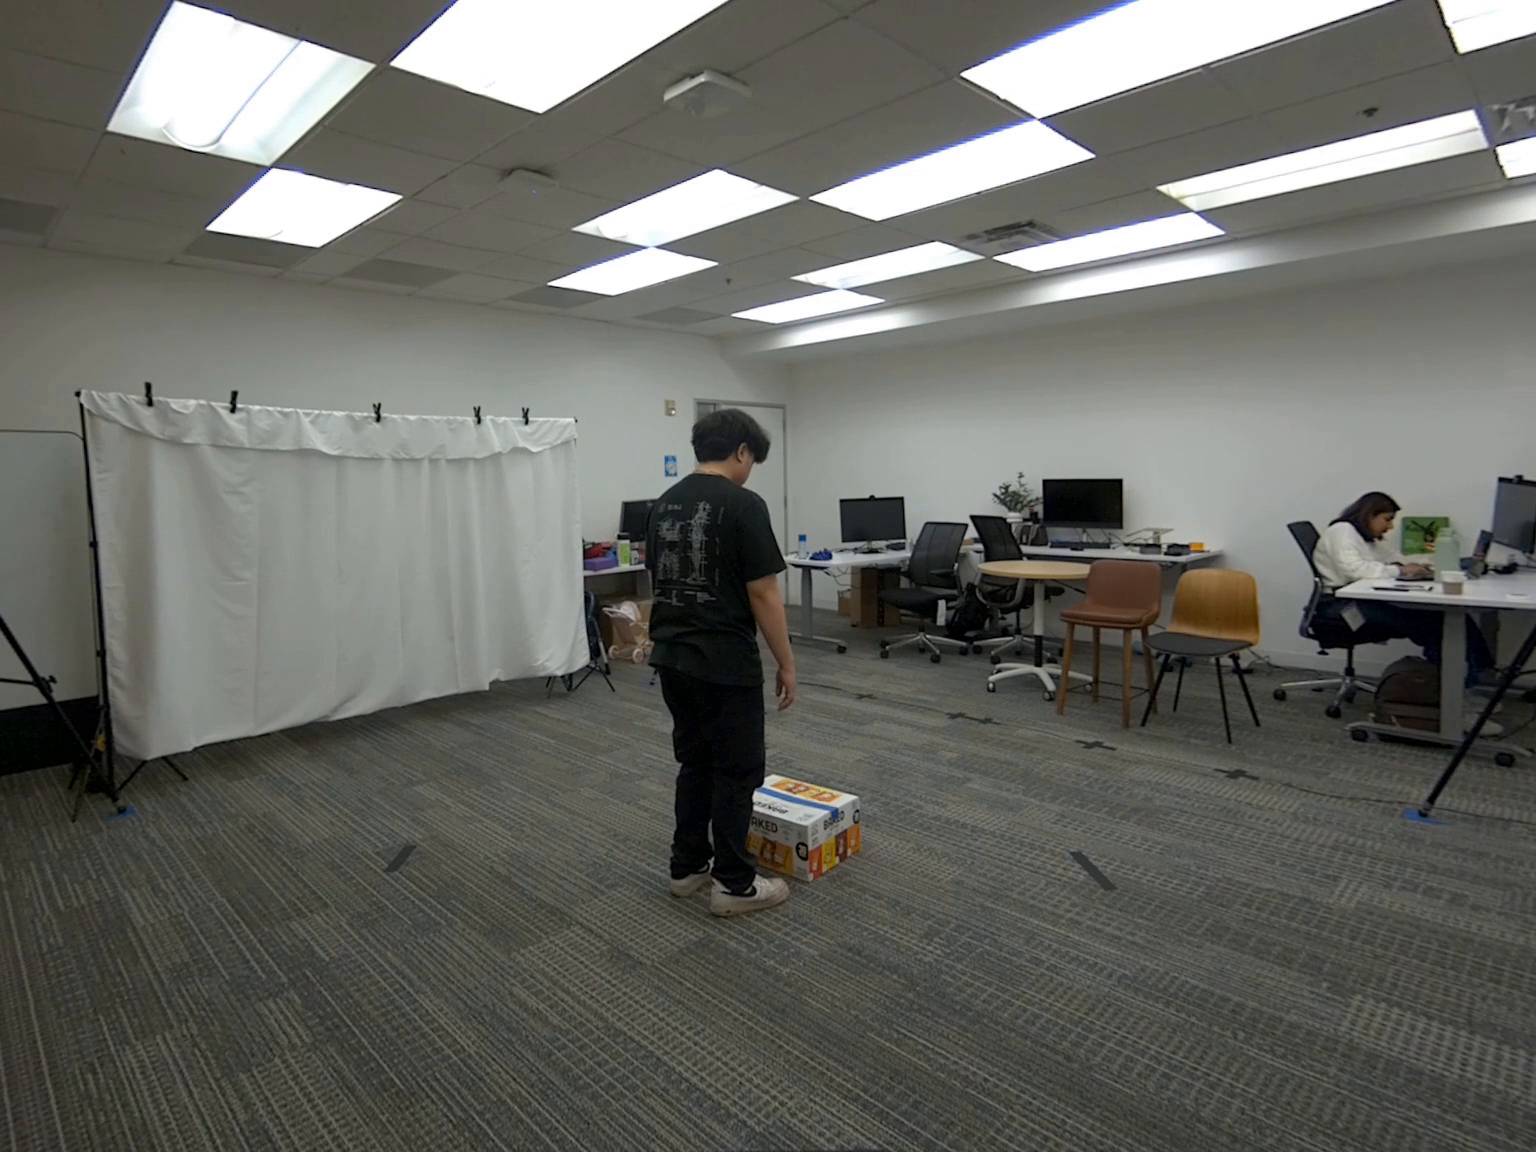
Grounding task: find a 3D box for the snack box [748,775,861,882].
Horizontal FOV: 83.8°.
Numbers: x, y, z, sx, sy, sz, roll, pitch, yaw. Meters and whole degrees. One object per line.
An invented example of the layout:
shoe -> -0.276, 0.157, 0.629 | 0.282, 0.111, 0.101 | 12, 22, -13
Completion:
snack box -> 0.080, 0.928, 3.192 | 0.417, 0.205, 0.332 | 4, 7, 39
